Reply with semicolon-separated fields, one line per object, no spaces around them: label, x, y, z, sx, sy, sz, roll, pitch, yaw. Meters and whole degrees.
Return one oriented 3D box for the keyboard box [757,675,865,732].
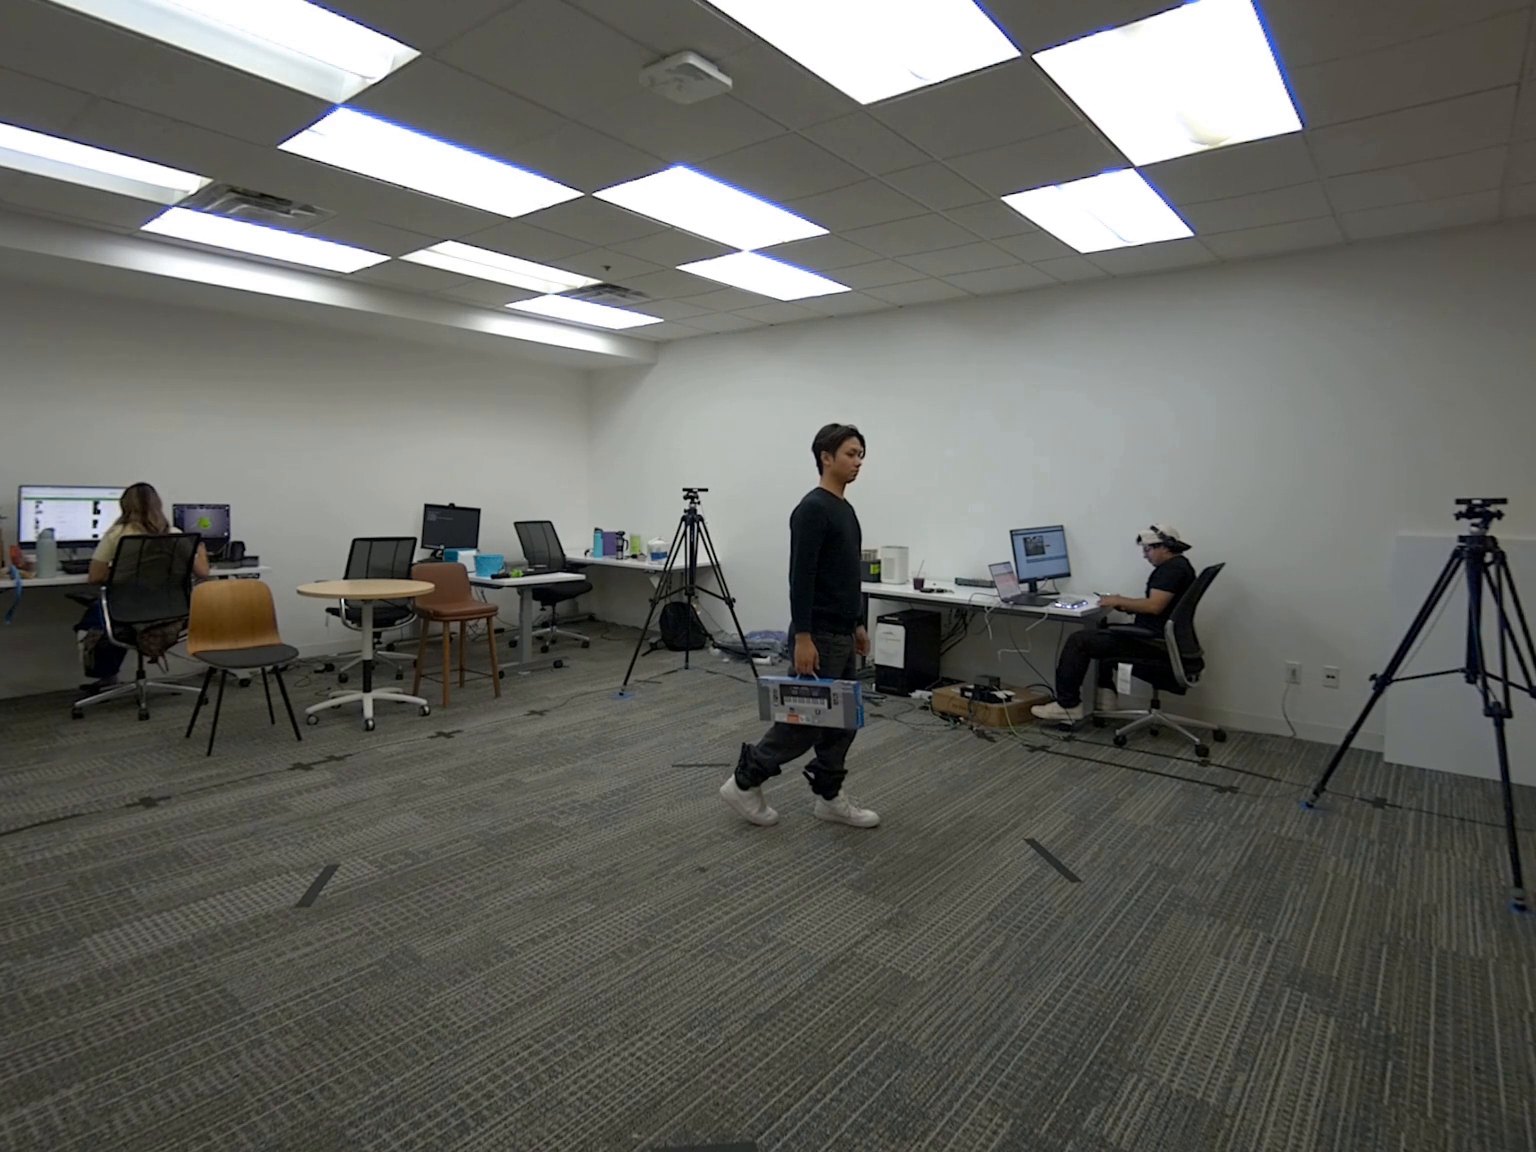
keyboard box;0.148;0.488;3.322;0.449;0.176;0.057;-2;2;35
